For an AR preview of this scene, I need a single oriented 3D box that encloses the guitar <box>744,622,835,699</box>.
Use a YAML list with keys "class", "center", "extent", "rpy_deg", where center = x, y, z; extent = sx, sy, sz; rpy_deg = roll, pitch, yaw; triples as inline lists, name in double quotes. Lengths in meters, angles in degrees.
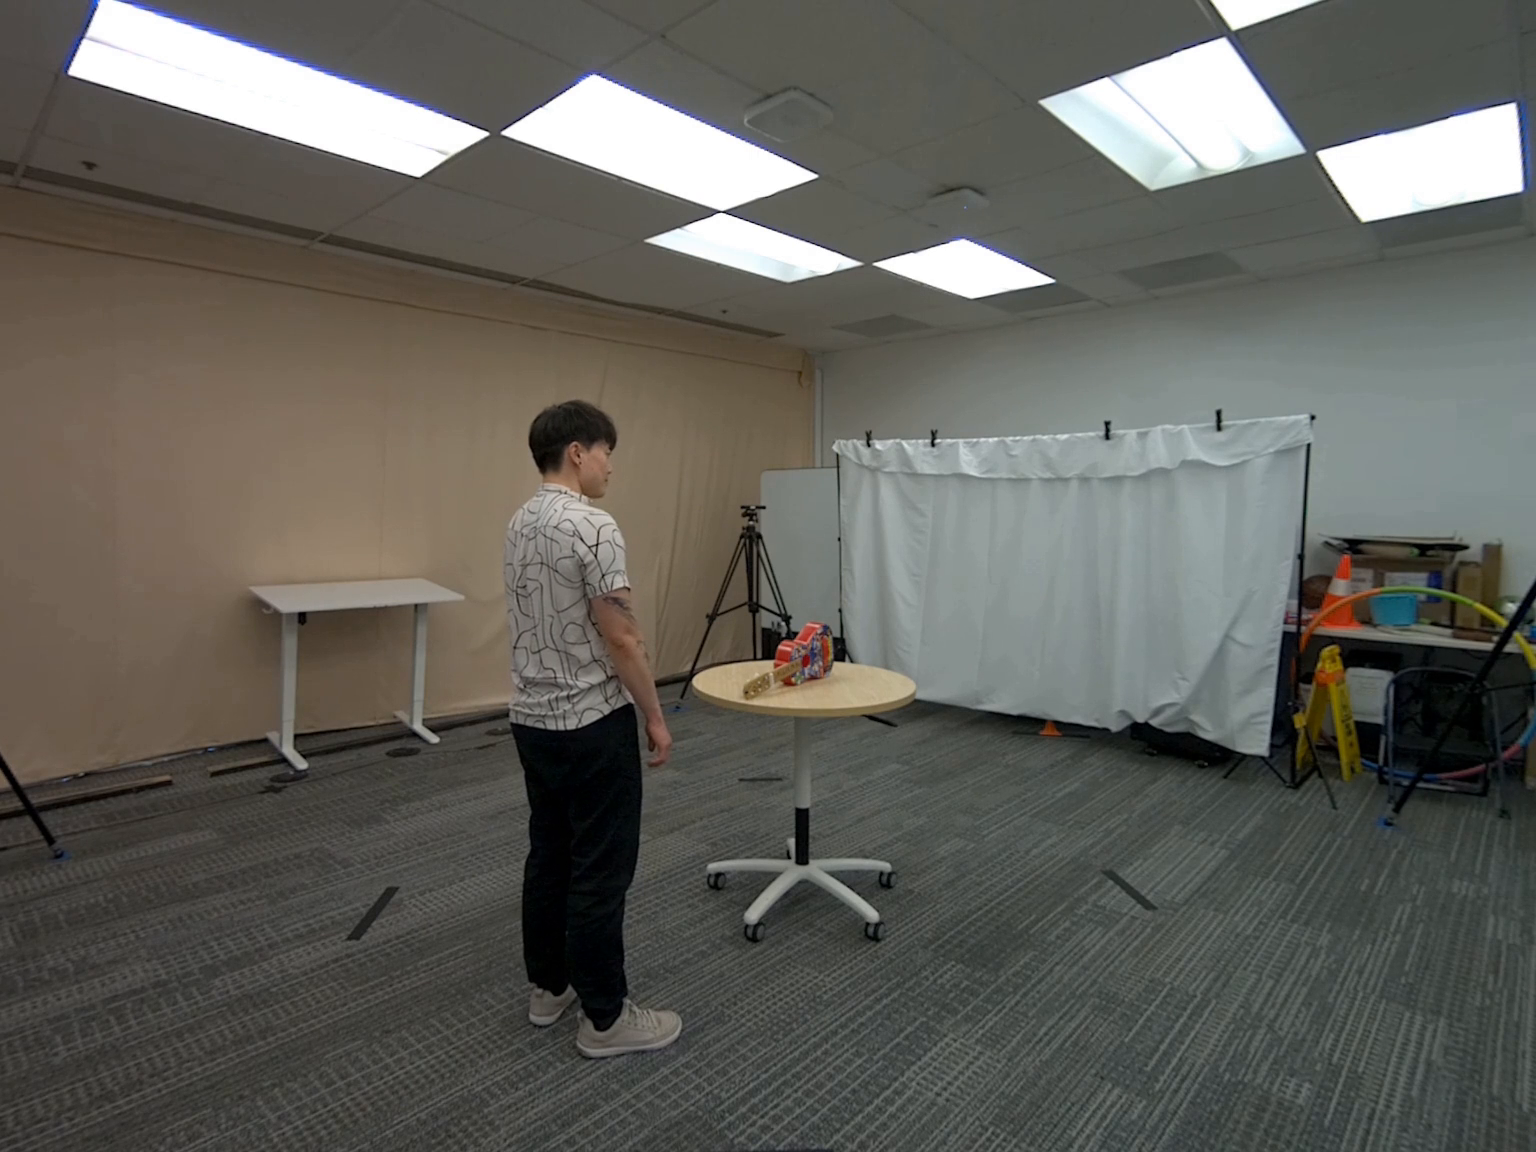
- class: "guitar"
  center: [0.071, 0.279, 2.825]
  extent: [0.073, 0.192, 0.483]
  rpy_deg: [5, 8, 39]
